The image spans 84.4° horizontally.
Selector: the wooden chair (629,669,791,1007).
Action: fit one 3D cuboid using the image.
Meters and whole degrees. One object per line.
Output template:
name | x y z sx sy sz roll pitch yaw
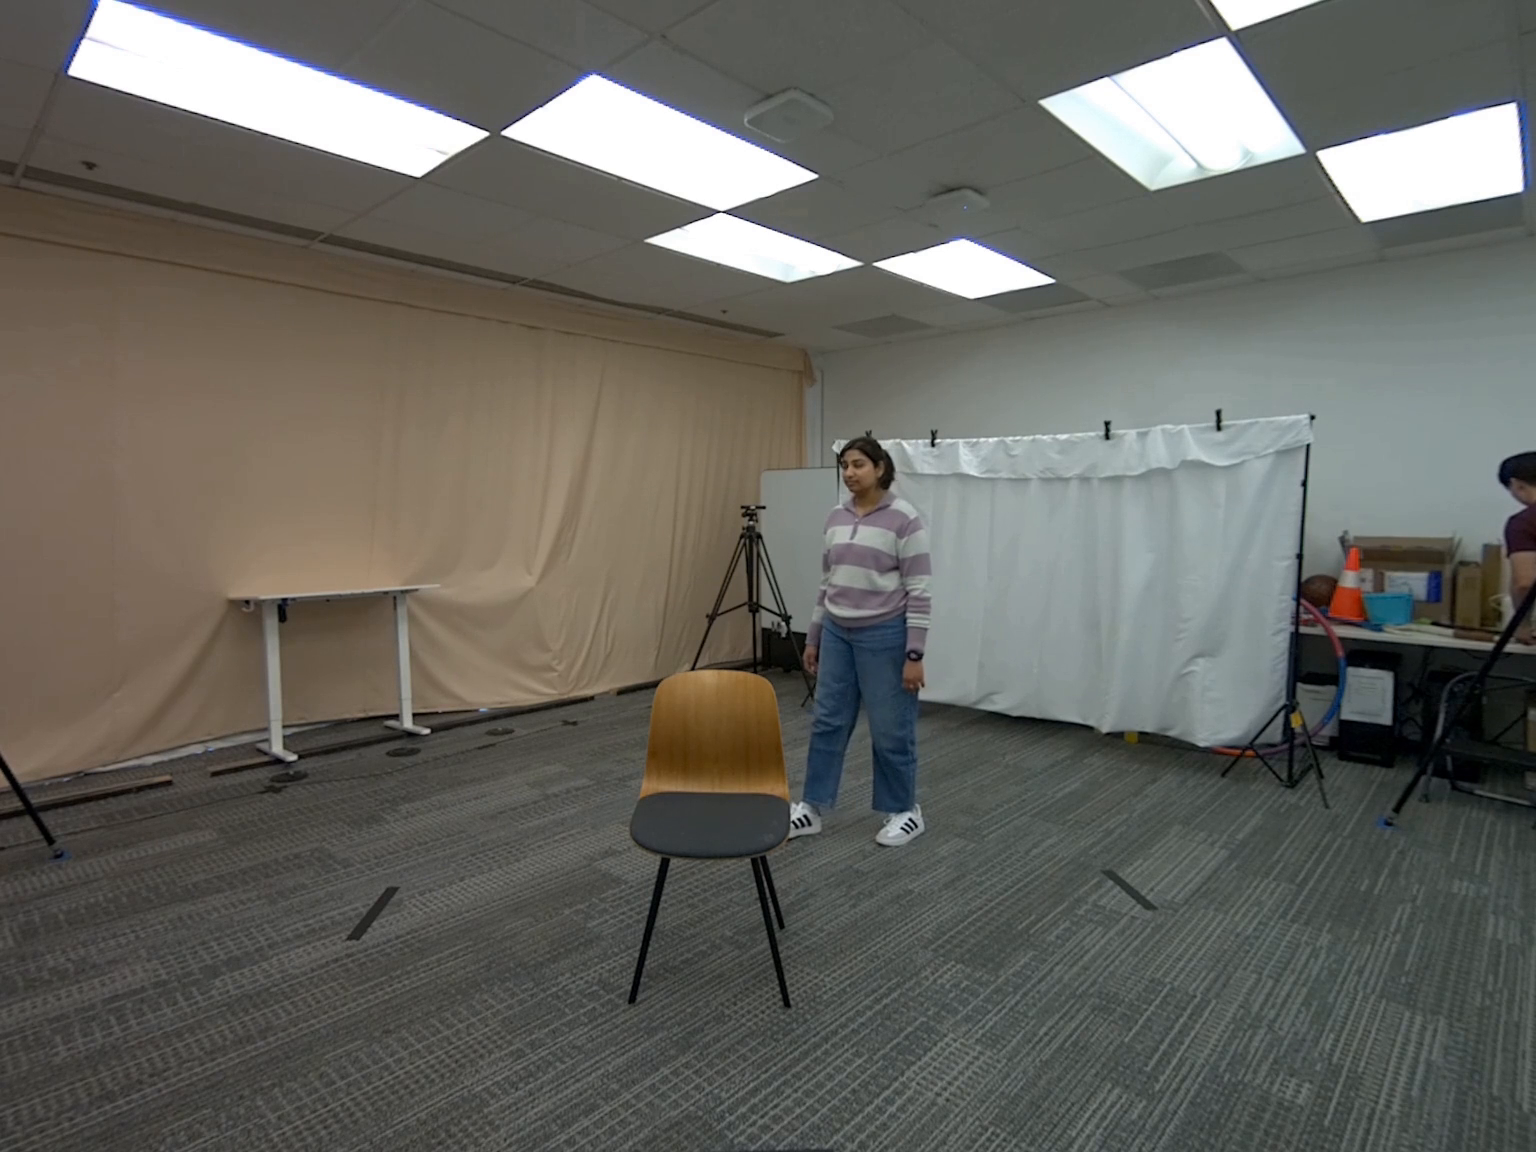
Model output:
wooden chair | -0.159 0.754 2.531 0.479 0.878 0.522 1 -1 1
